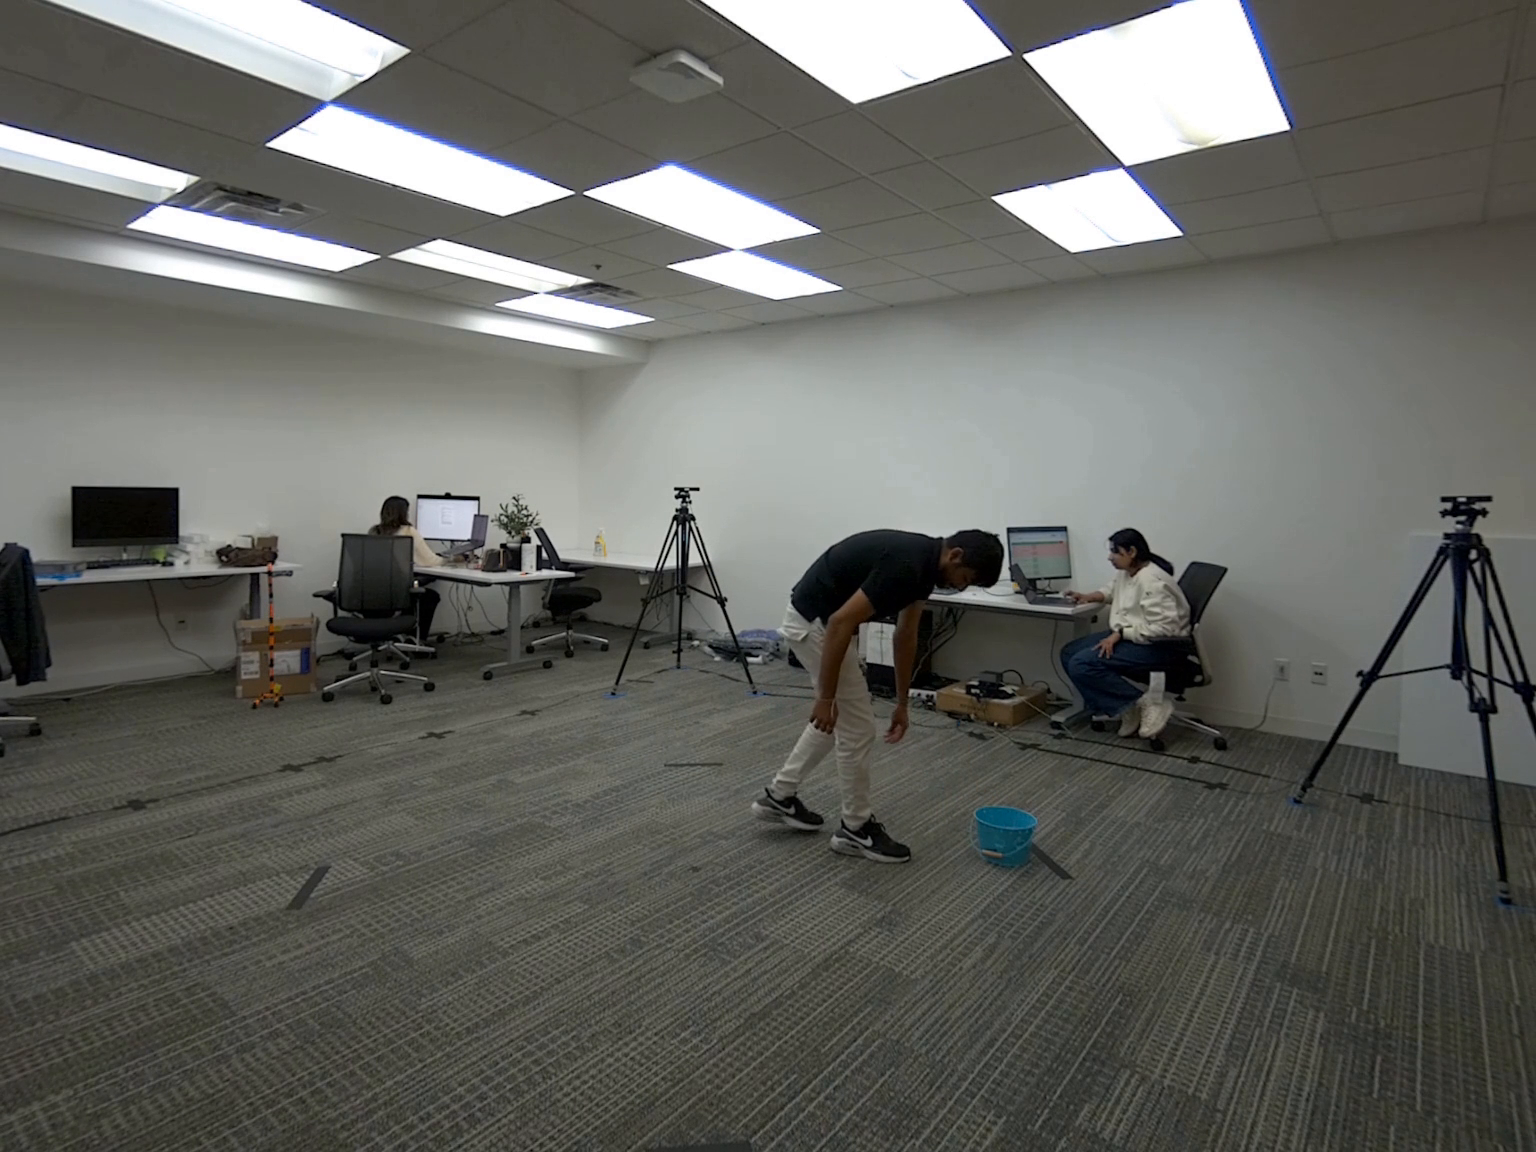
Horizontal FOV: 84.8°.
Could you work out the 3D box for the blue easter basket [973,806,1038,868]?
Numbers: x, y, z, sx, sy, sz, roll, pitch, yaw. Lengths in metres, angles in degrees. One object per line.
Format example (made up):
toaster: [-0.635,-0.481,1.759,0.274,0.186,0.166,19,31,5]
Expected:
blue easter basket: [0.898,0.994,3.275,0.243,0.155,0.245,1,5,-2]
